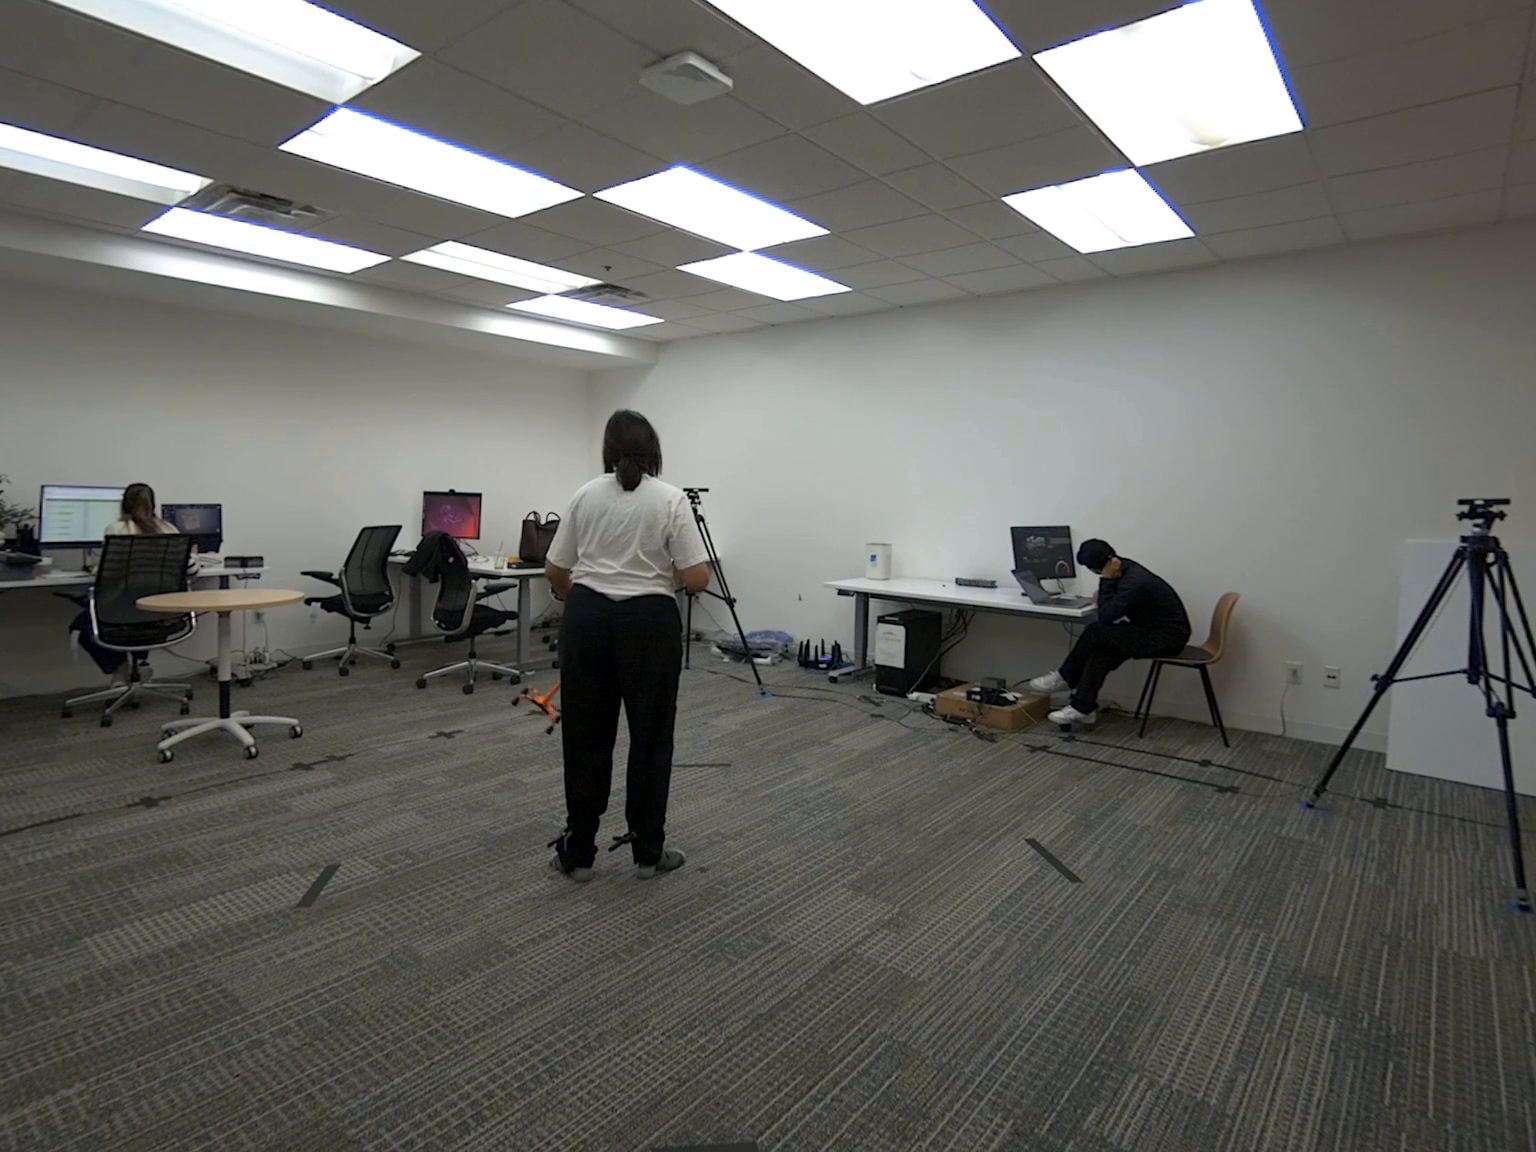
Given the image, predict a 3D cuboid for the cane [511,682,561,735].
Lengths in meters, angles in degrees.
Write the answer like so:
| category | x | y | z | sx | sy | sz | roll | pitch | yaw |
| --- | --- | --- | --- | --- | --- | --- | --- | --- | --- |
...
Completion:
| category | x | y | z | sx | sy | sz | roll | pitch | yaw |
| --- | --- | --- | --- | --- | --- | --- | --- | --- | --- |
| cane | -0.664 | 0.222 | 3.362 | 0.206 | 0.907 | 0.152 | 39 | 7 | -3 |
